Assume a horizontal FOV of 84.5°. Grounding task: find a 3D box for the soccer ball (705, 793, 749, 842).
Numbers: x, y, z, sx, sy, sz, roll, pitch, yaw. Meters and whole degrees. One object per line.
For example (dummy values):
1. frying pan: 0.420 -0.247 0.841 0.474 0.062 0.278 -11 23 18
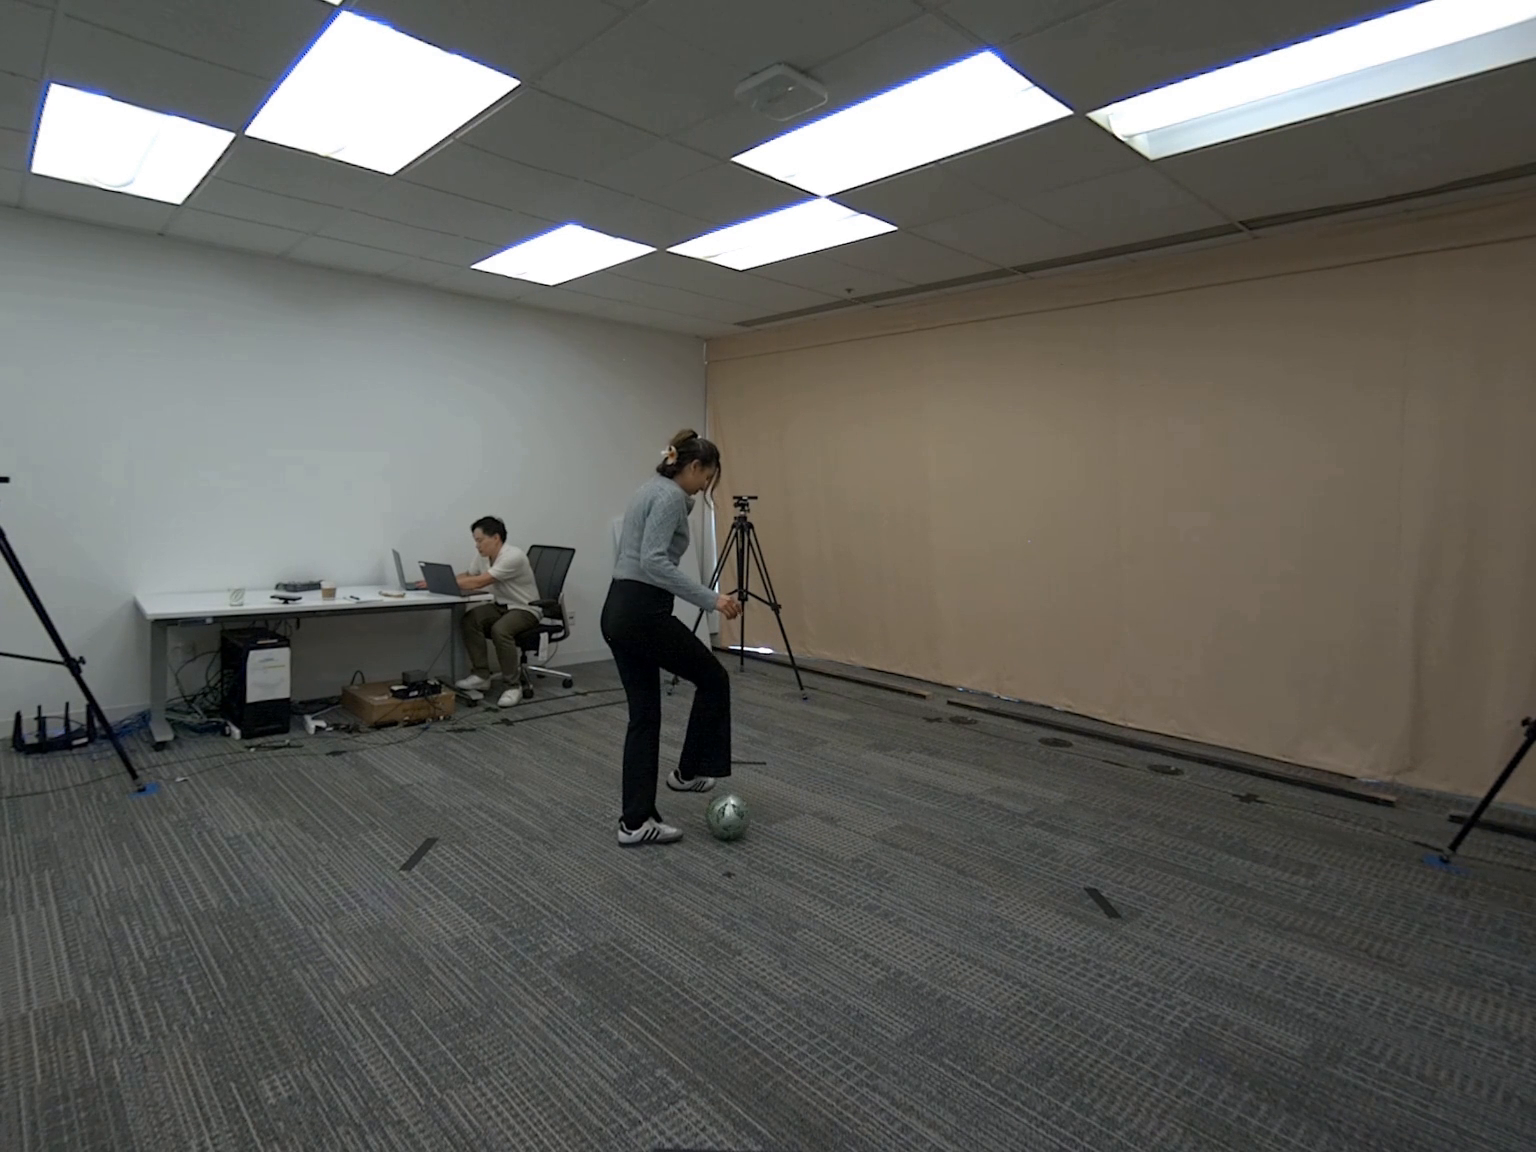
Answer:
1. soccer ball: -0.177 0.977 3.431 0.187 0.187 0.188 1 4 -1
